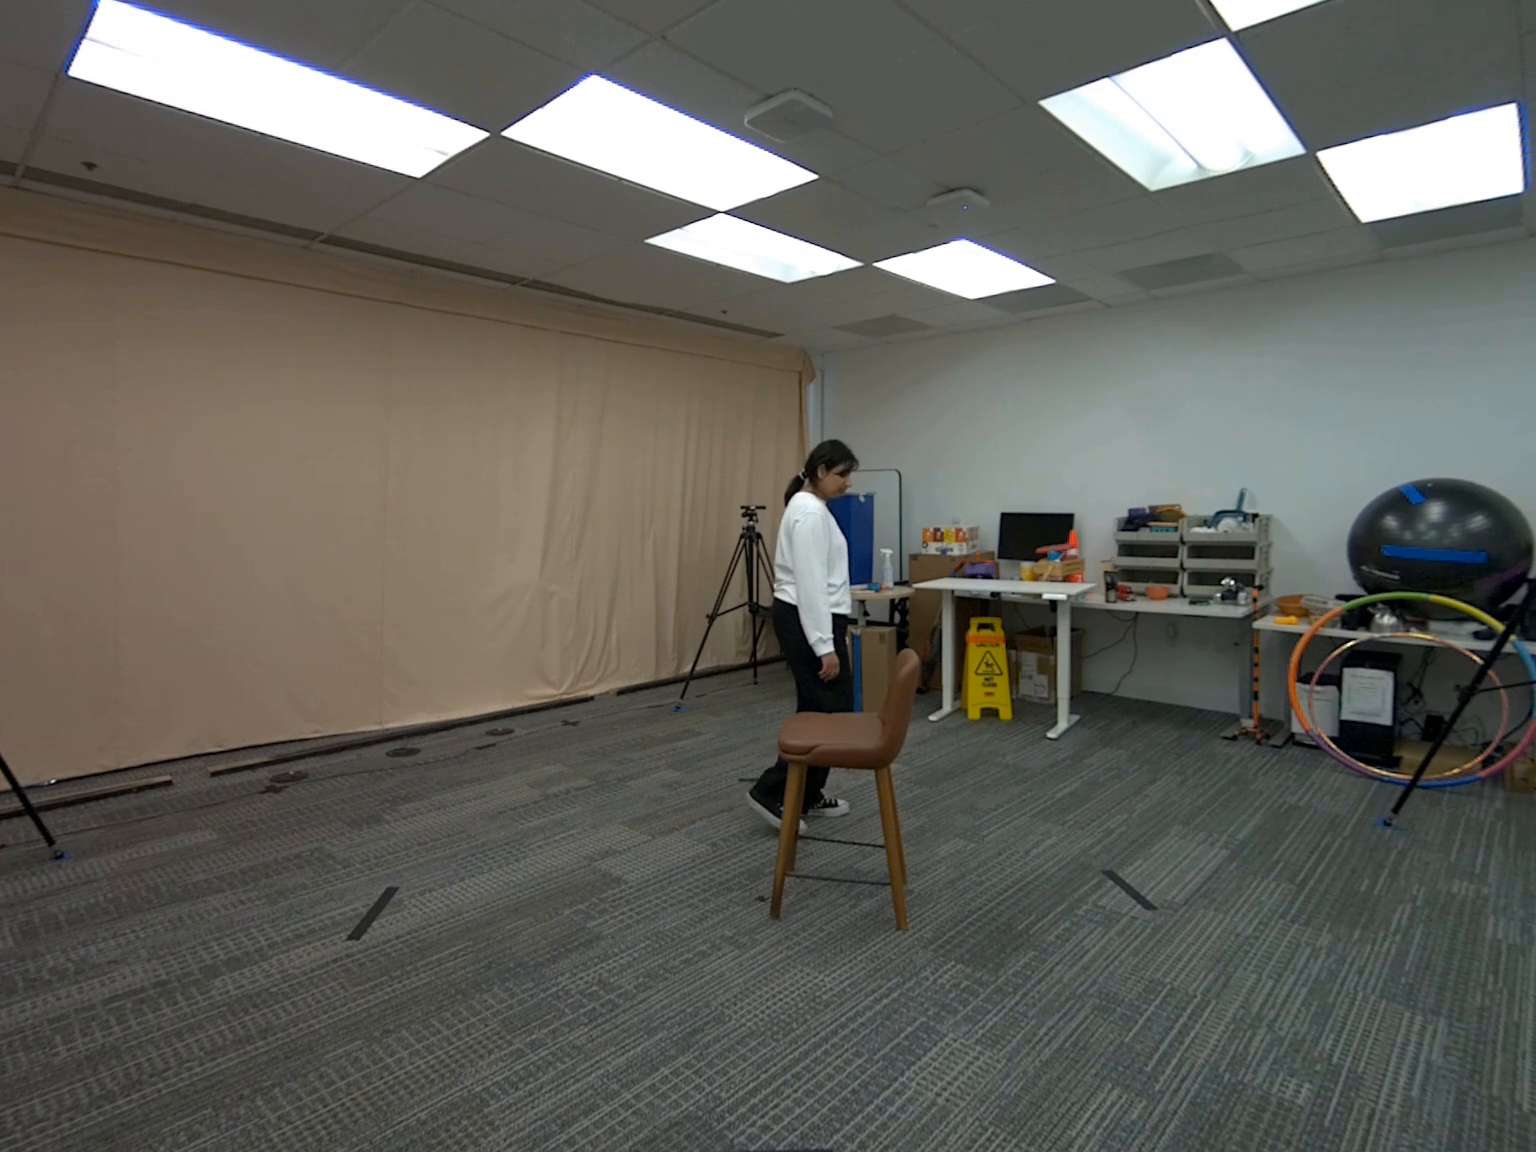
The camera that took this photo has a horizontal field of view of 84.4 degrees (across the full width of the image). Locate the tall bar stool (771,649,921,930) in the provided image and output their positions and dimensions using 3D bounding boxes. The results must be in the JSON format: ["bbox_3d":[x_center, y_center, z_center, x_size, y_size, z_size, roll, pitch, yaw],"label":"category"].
[{"bbox_3d":[0.271,0.710,2.965,0.474,0.888,0.451,3,4,12],"label":"tall bar stool"}]
